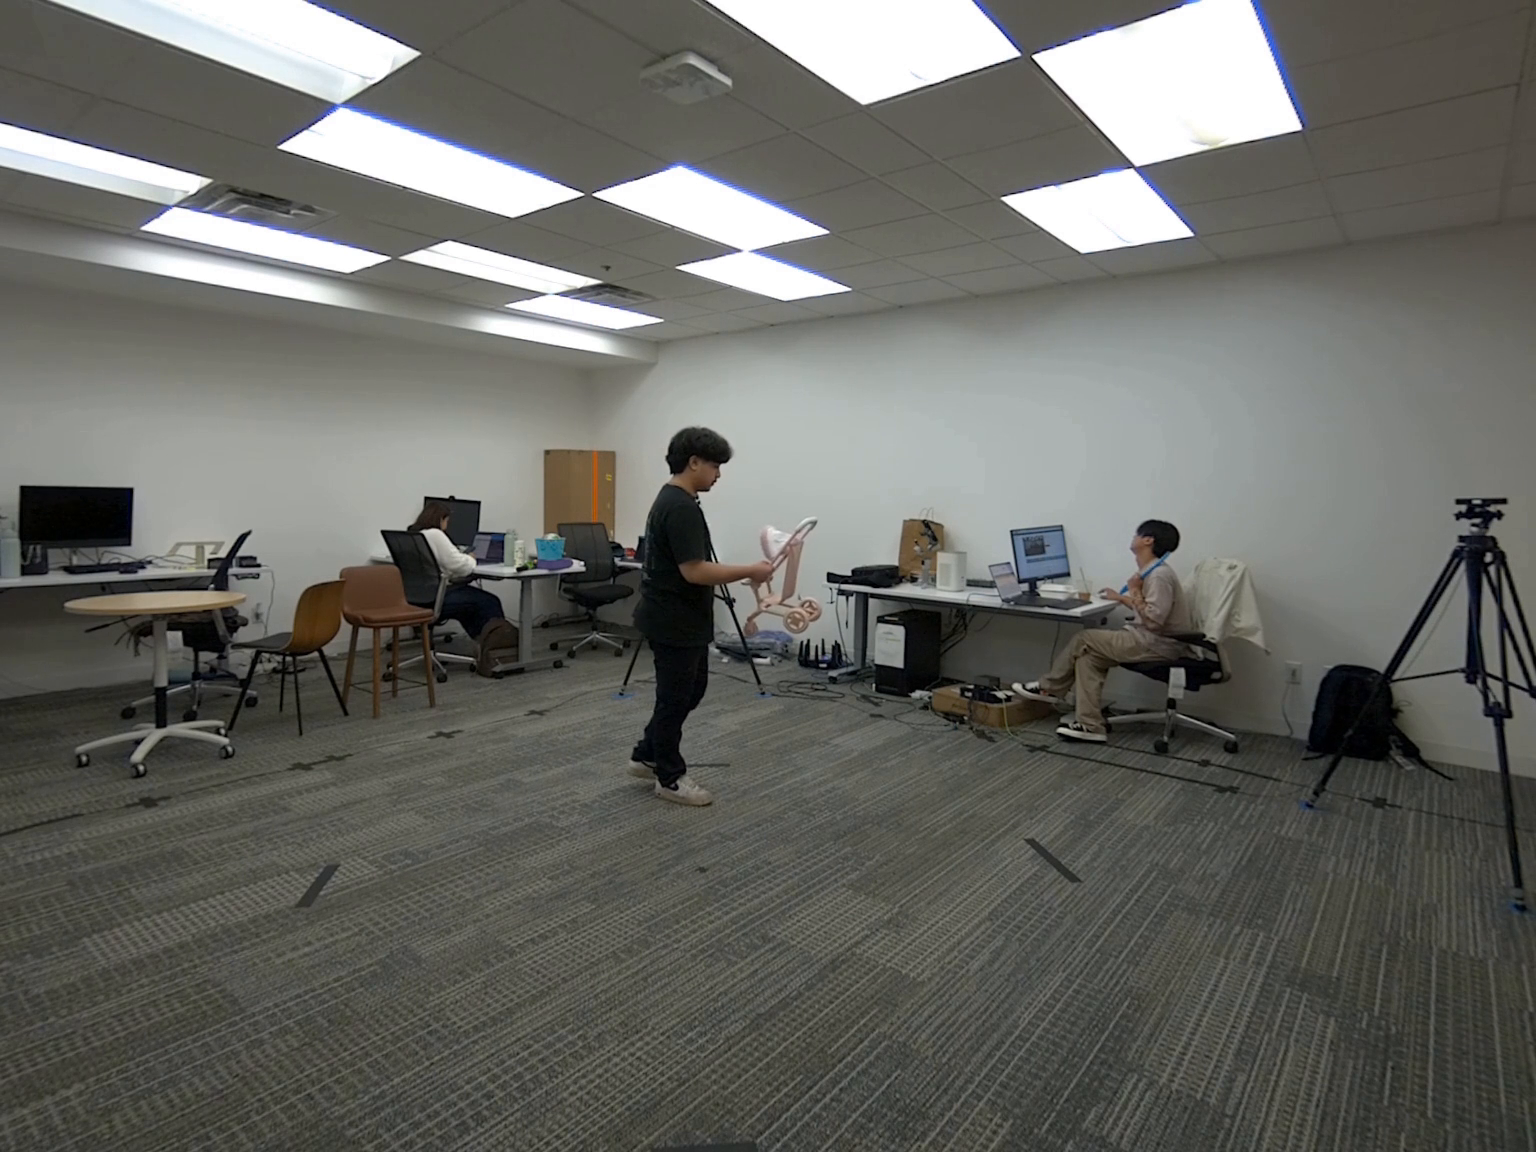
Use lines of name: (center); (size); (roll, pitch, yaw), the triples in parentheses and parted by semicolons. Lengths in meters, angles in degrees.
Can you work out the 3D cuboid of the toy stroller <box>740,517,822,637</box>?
toy stroller: (0.034, 0.012, 3.726); (0.350, 0.531, 0.276); (1, 7, 23)
